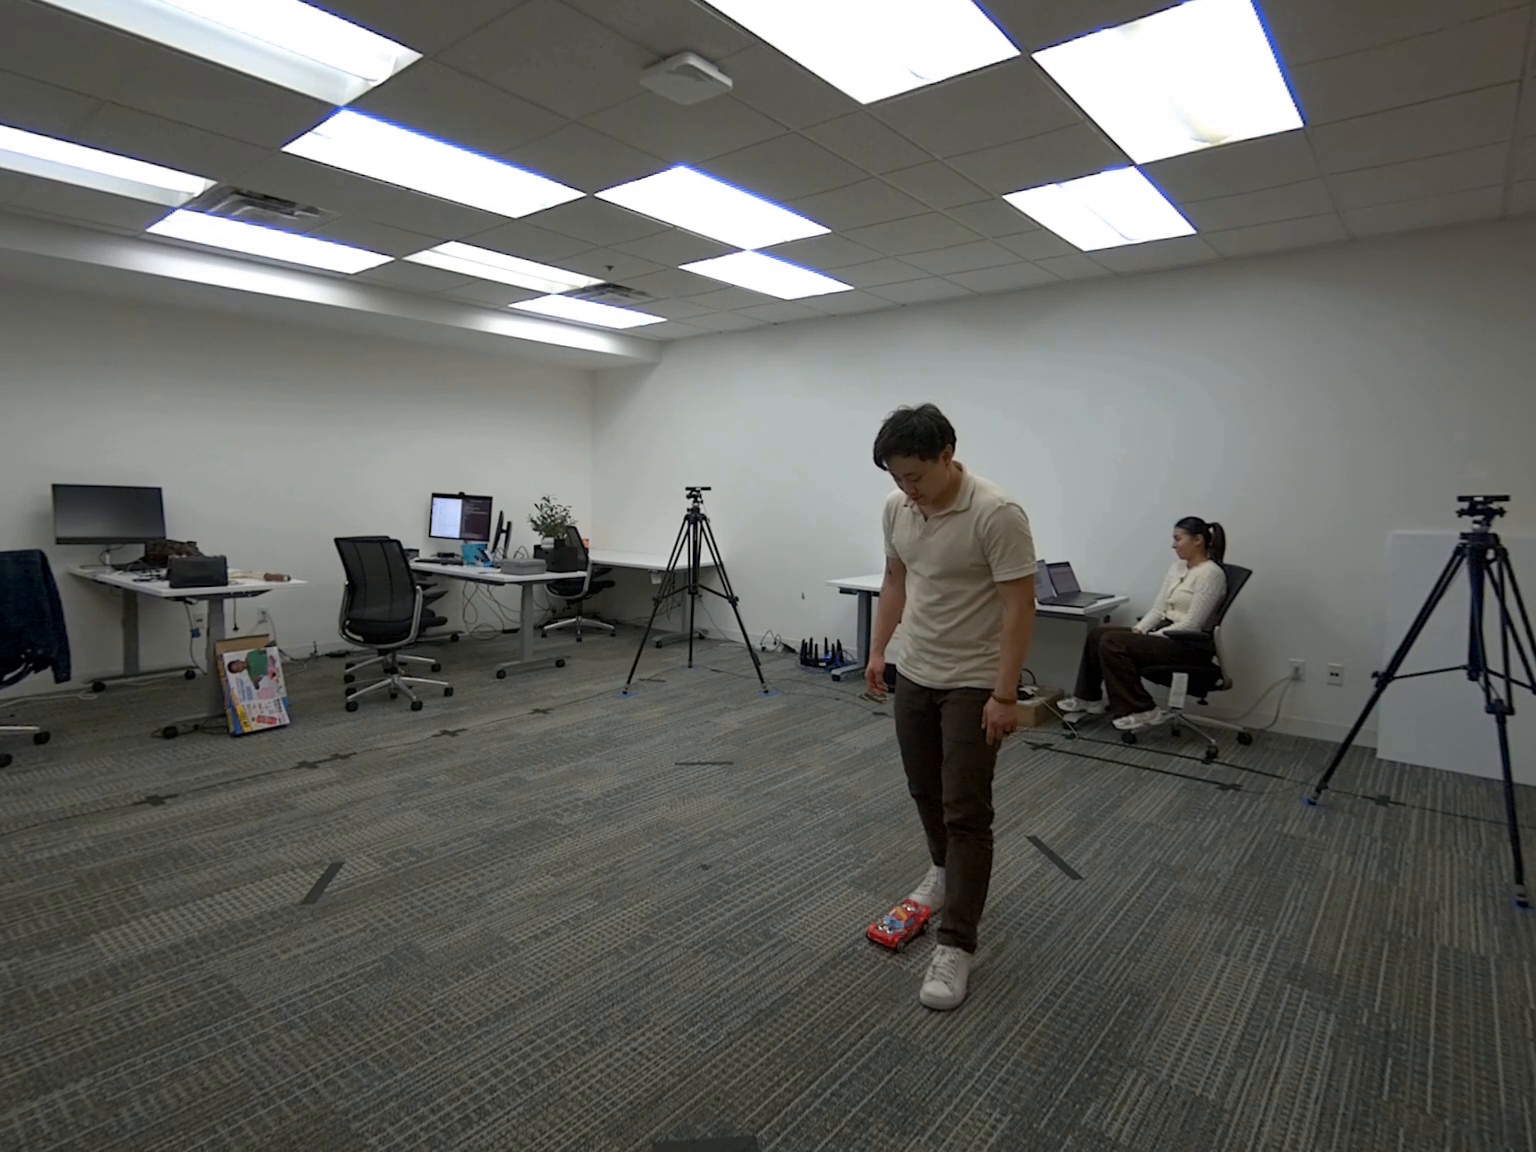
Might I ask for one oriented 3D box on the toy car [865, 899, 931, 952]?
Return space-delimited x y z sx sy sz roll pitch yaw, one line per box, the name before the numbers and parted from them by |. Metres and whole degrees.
toy car | 0.415 1.091 2.668 0.135 0.082 0.249 6 18 41
